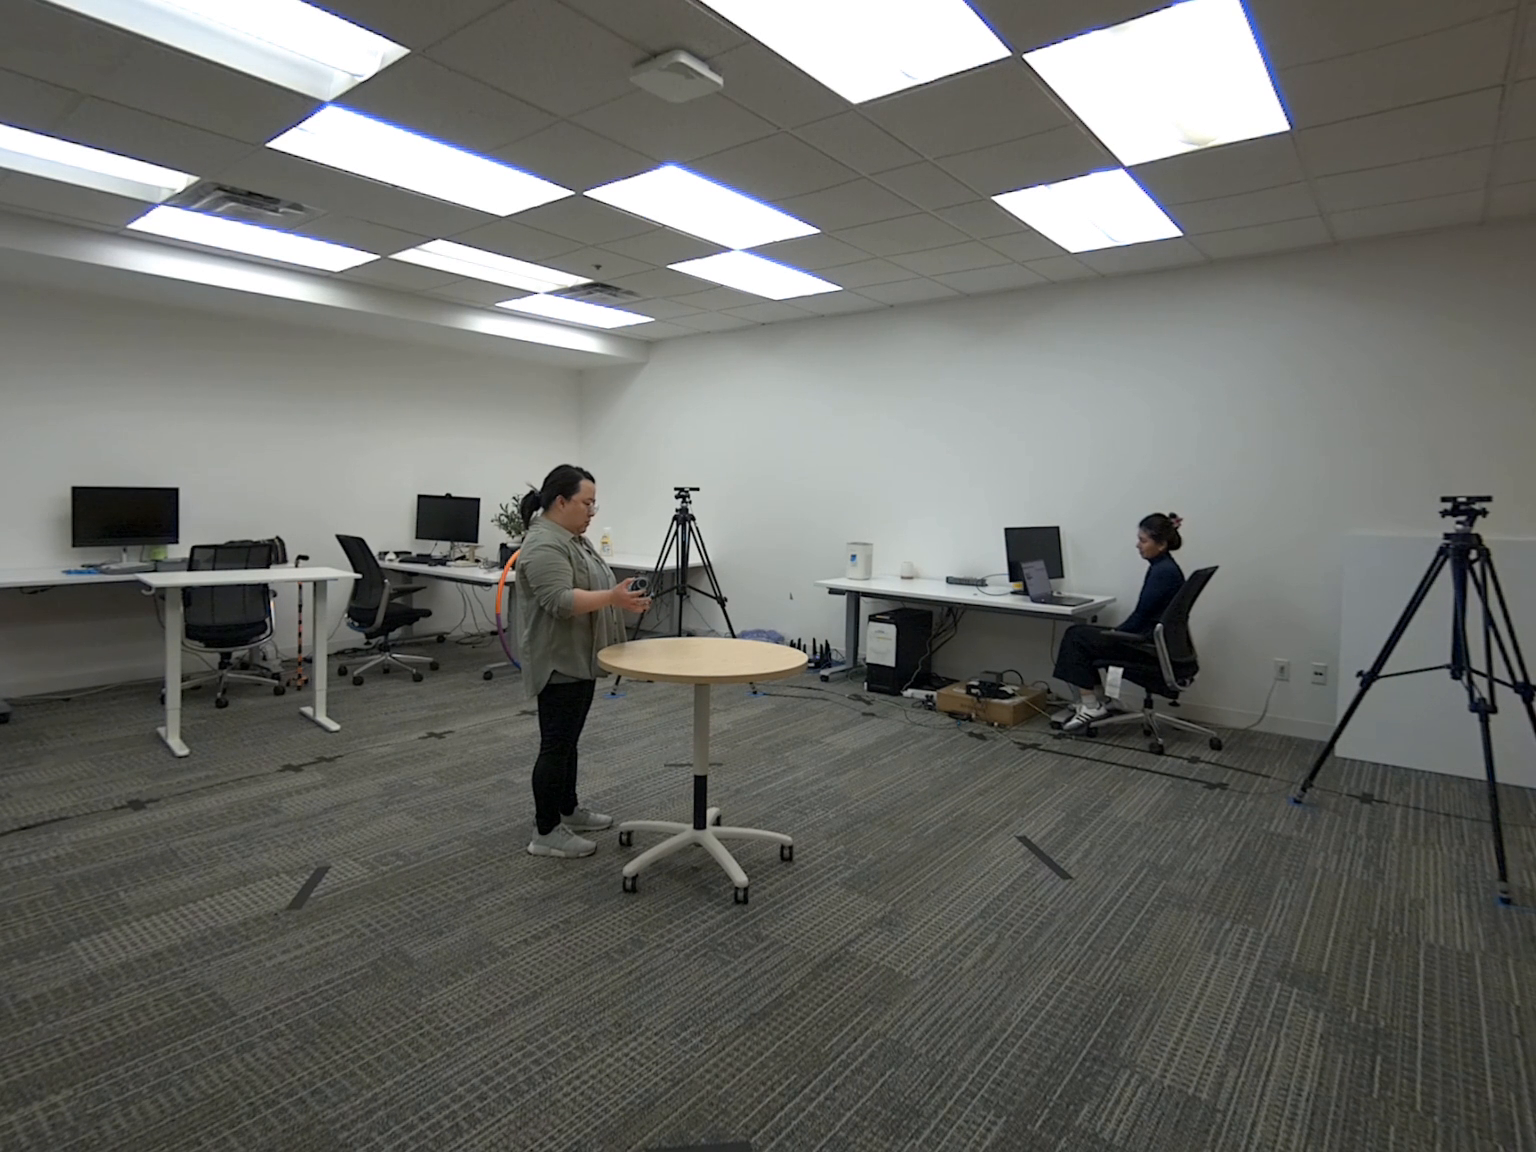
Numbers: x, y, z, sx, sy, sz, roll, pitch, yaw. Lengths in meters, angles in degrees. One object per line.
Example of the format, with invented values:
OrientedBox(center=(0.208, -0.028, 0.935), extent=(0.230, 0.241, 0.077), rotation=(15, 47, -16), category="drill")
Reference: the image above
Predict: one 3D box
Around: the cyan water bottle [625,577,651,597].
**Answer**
OrientedBox(center=(-0.512, 0.058, 3.277), extent=(0.091, 0.093, 0.285), rotation=(0, -4, -13), category="cyan water bottle")
